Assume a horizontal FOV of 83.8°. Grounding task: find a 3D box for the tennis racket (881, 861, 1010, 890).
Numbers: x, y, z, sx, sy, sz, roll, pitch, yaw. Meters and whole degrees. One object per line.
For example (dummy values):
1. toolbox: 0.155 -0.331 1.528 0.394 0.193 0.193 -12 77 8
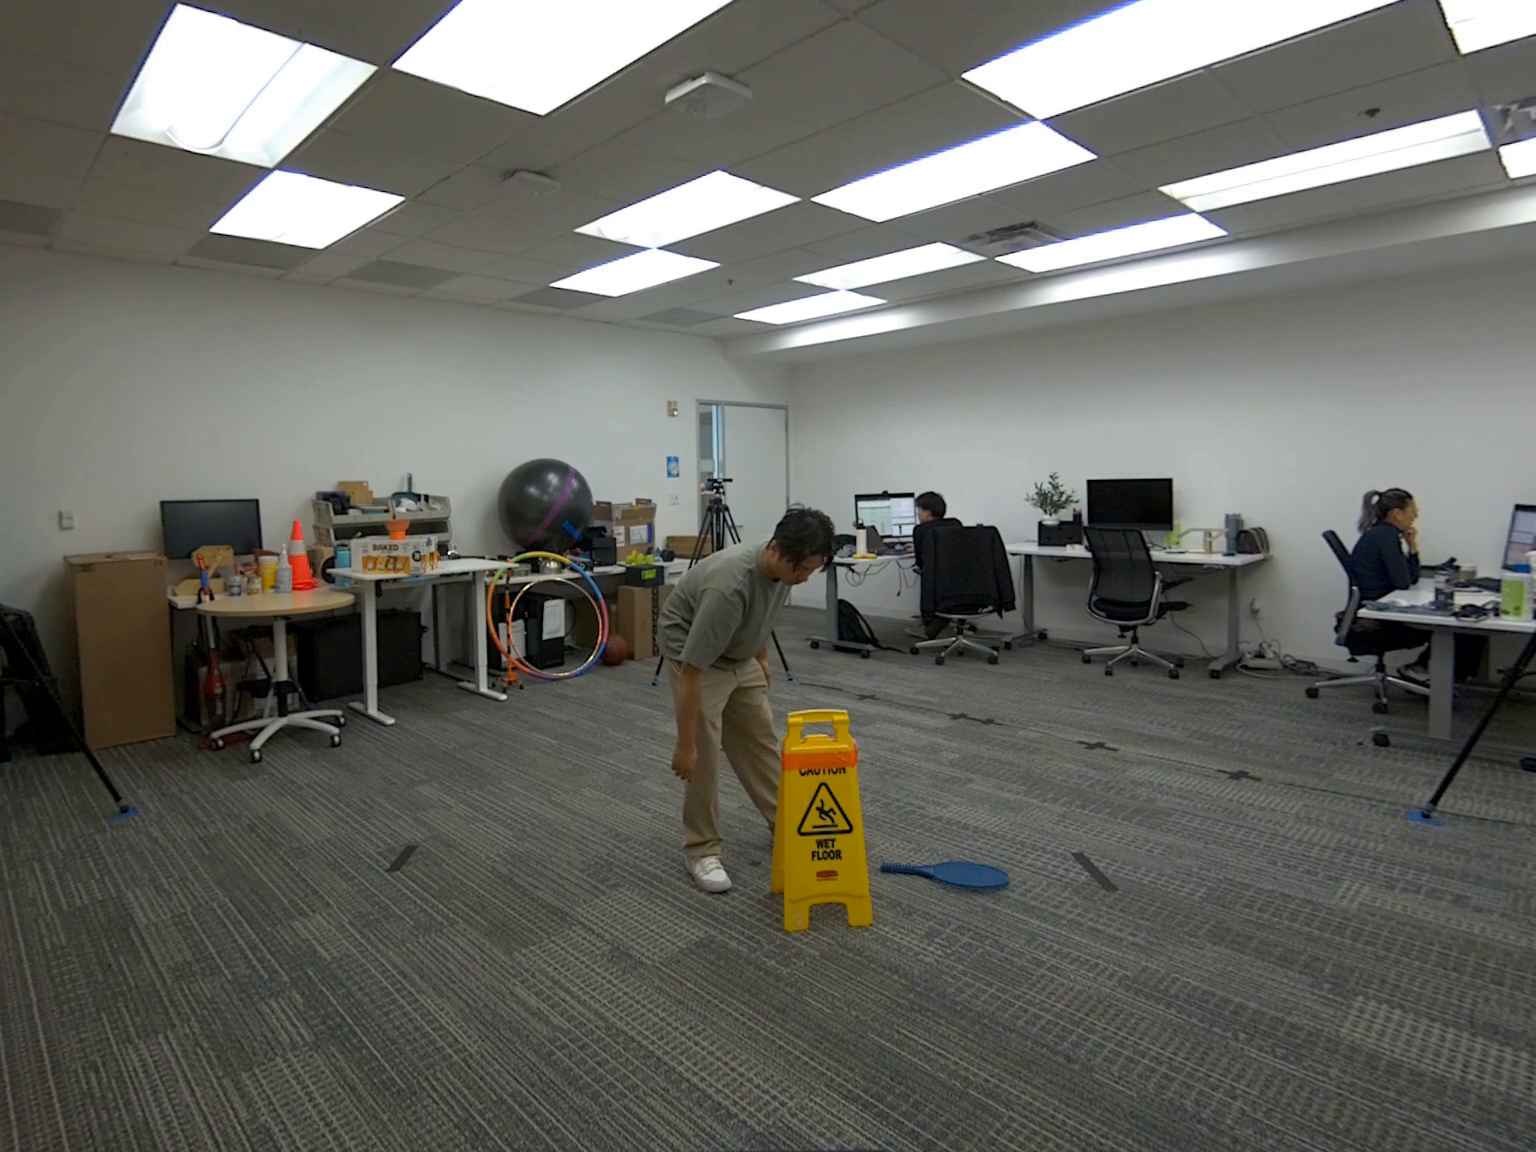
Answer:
1. tennis racket: 0.613 1.026 2.975 0.439 0.032 0.211 1 4 15
